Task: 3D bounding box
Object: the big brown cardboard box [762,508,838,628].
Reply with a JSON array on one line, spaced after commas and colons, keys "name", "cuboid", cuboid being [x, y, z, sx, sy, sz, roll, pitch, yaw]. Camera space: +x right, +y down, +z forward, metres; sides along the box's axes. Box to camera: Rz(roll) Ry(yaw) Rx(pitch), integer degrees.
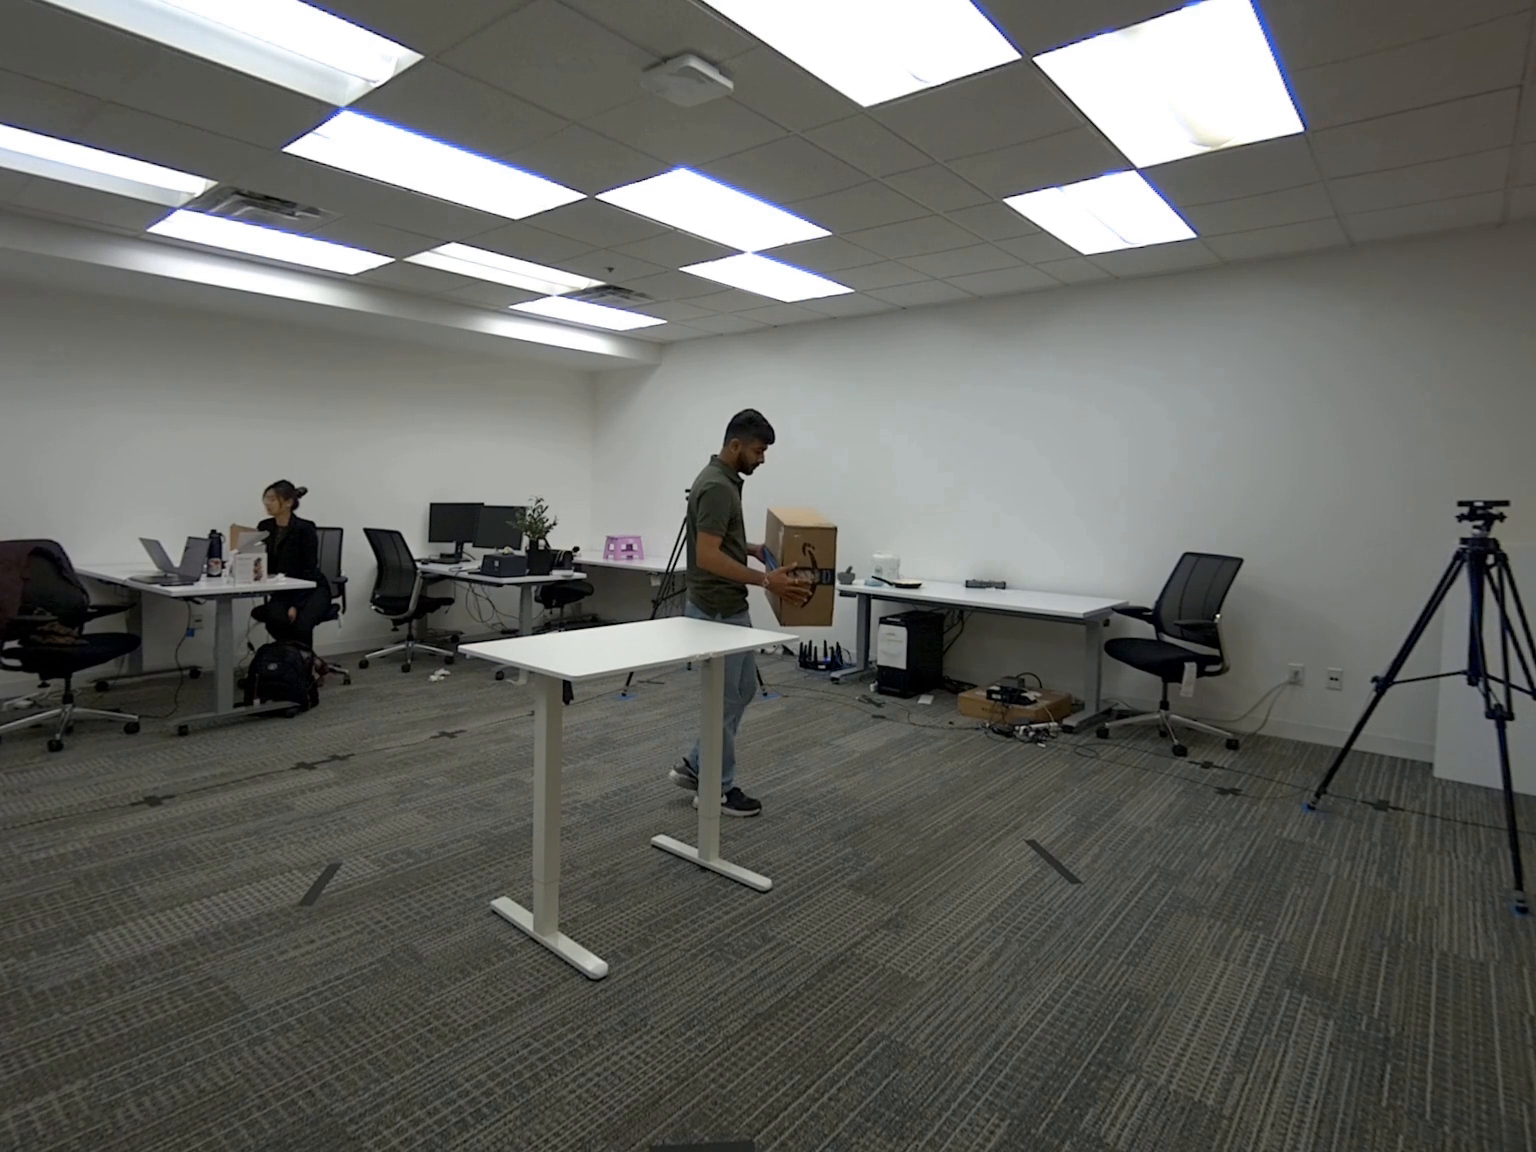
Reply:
[{"name": "big brown cardboard box", "cuboid": [0.124, -0.054, 3.674, 0.232, 0.414, 0.597, 1, 10, -6]}]
